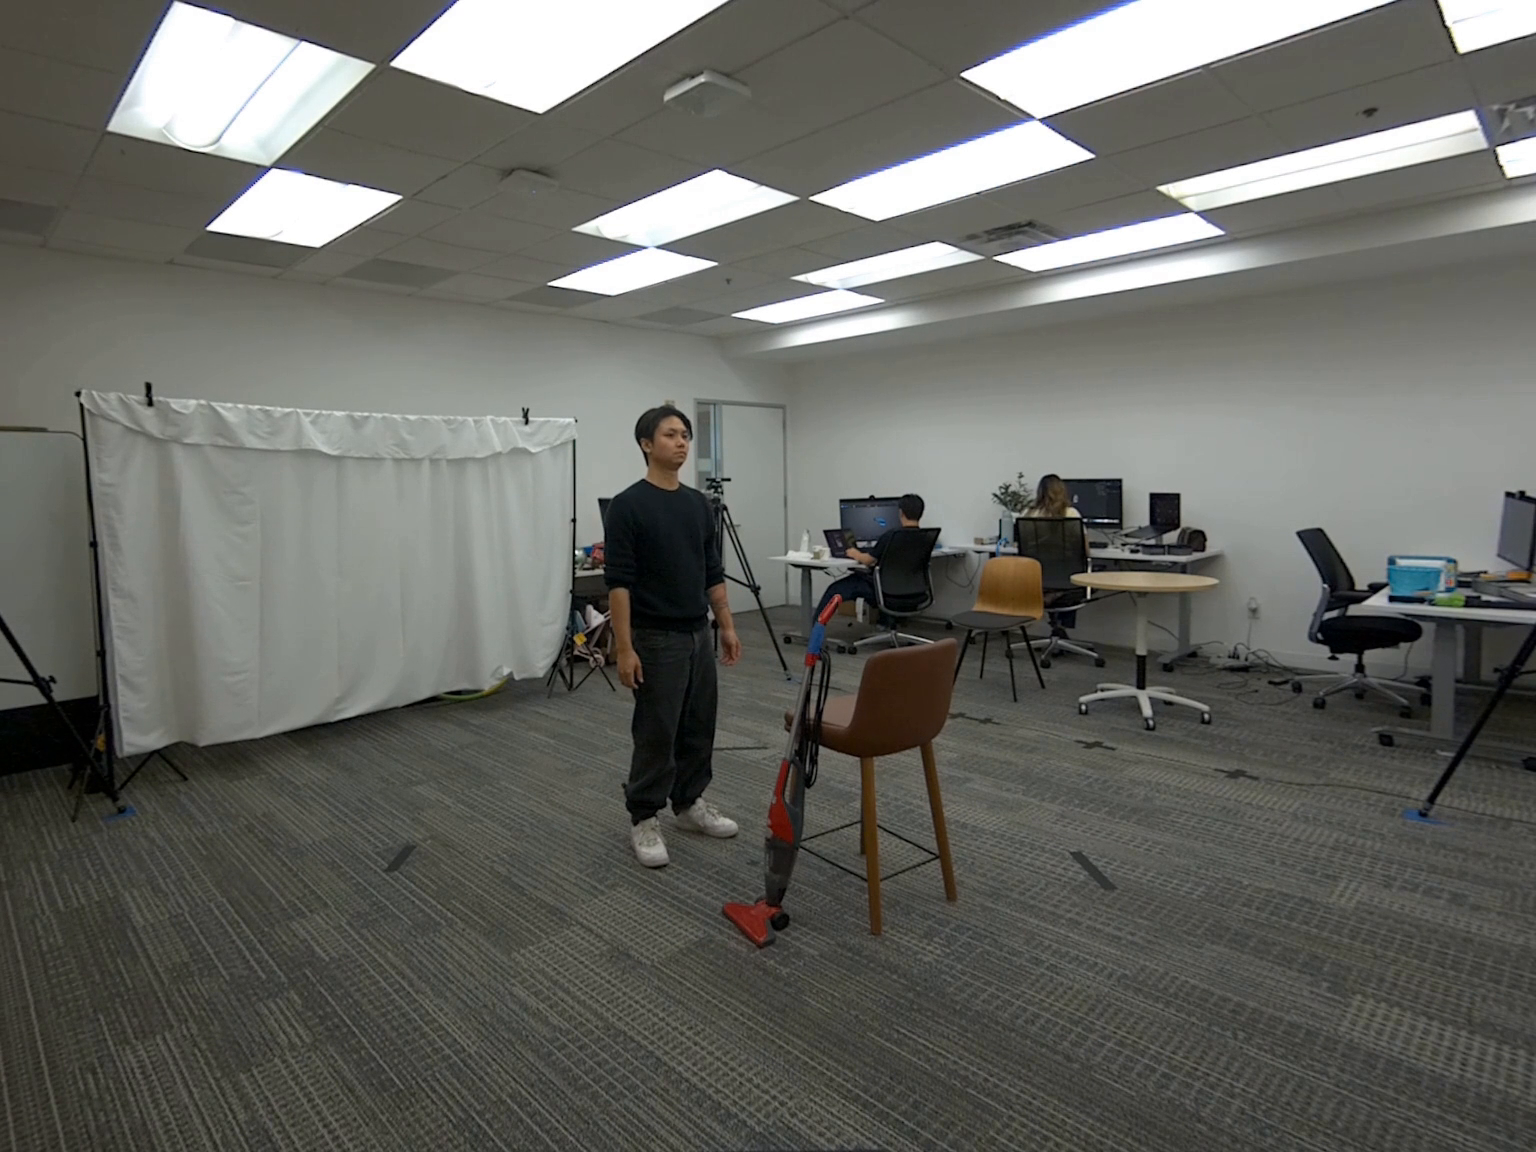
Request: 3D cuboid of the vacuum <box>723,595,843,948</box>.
[{"bbox_3d":[0.105,0.583,2.715,0.139,1.052,0.260,16,-5,-33],"label":"vacuum"}]
